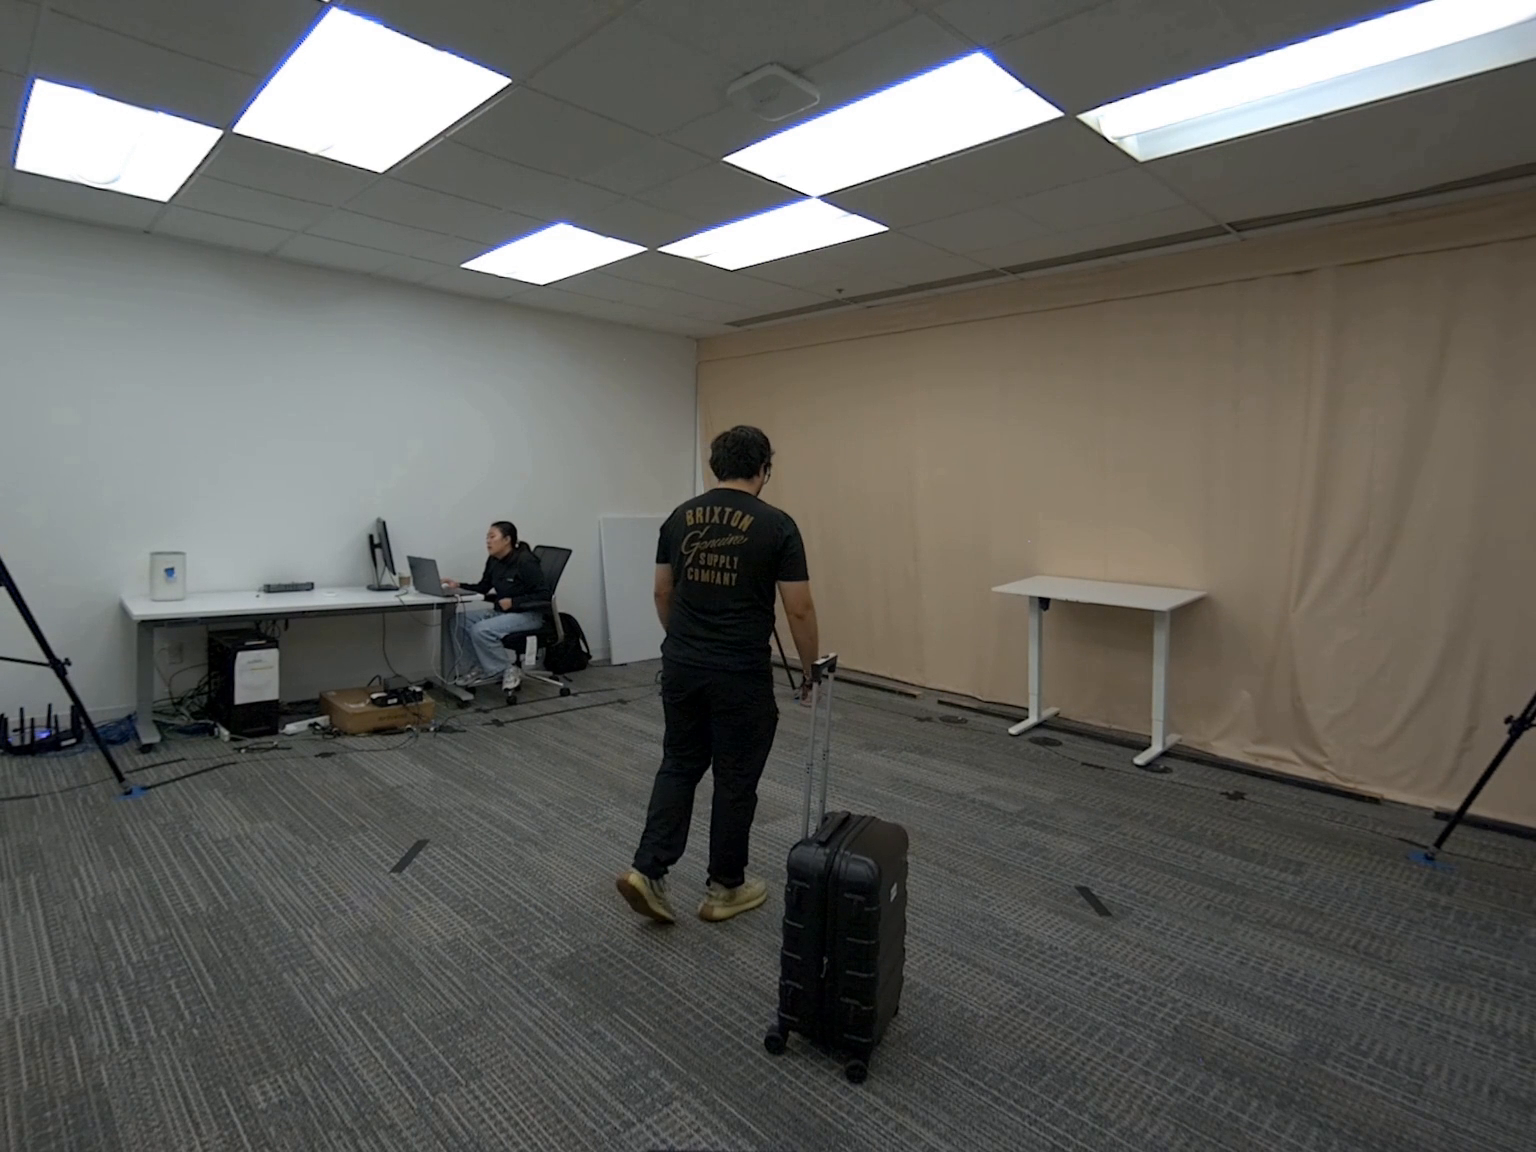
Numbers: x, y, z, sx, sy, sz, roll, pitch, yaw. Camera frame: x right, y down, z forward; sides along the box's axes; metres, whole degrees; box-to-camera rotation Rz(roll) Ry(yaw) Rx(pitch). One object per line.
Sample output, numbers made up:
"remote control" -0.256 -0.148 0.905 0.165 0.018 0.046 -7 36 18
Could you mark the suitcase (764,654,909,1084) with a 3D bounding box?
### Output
"suitcase" 0.215 0.723 2.177 0.262 0.976 0.378 6 4 22
